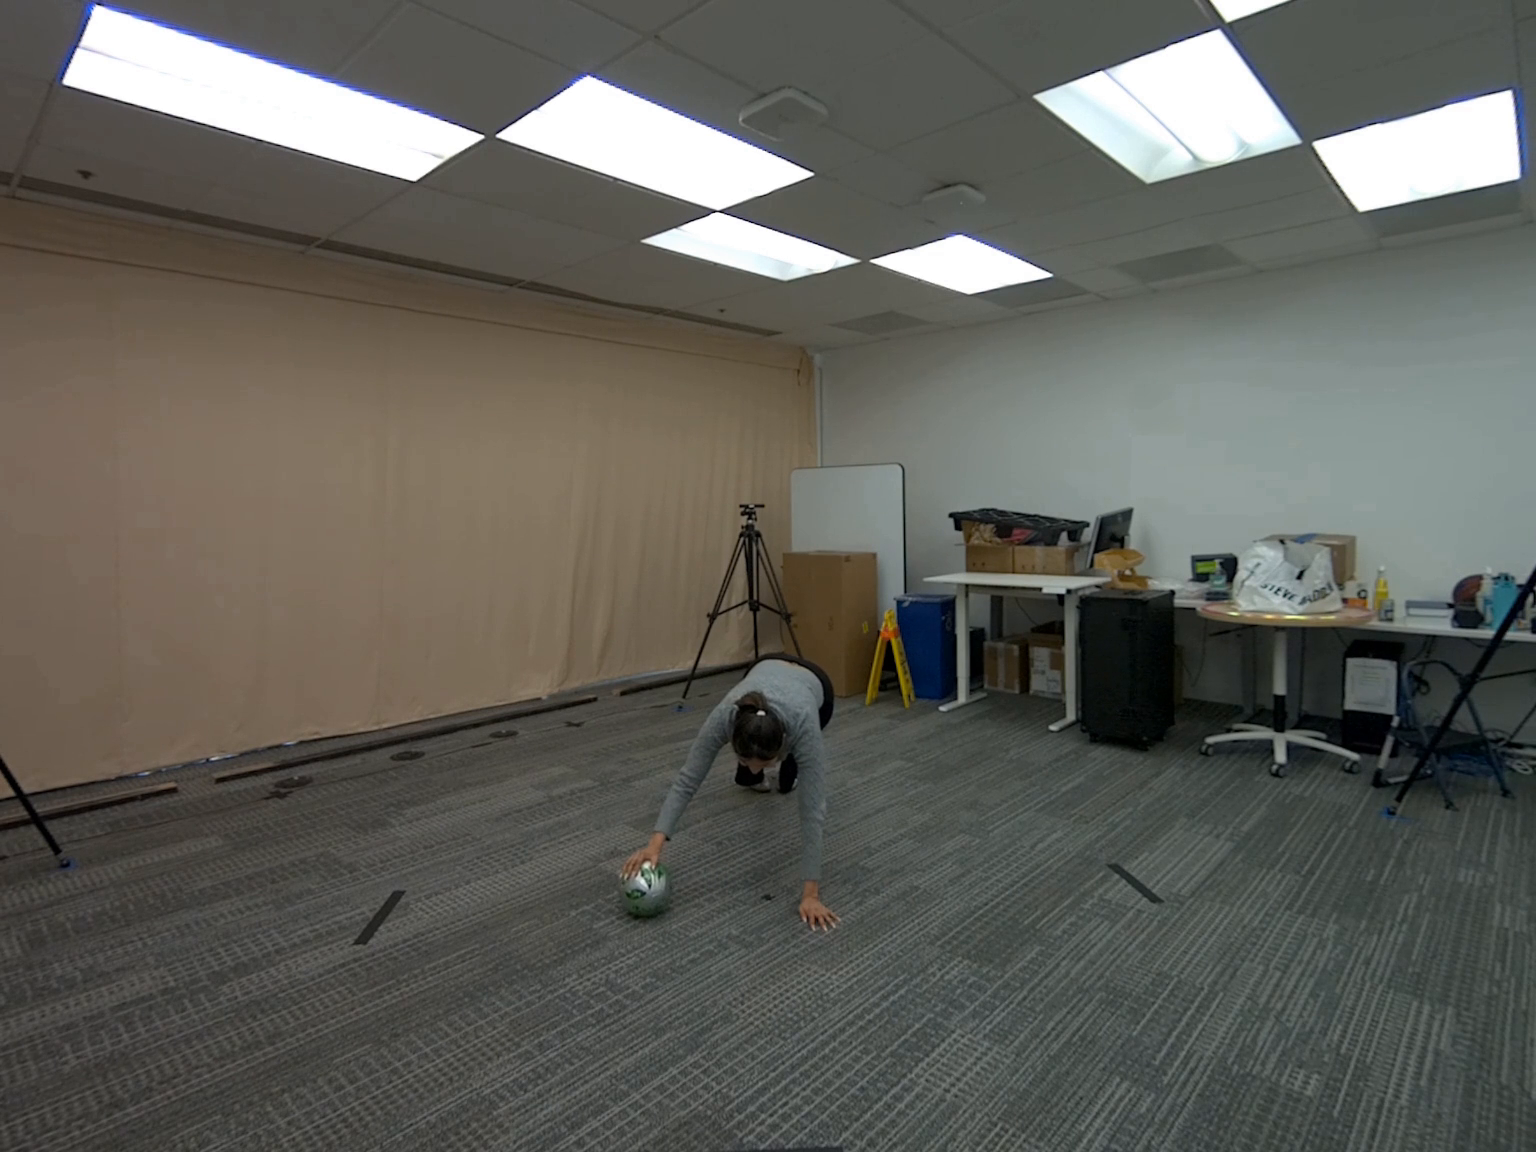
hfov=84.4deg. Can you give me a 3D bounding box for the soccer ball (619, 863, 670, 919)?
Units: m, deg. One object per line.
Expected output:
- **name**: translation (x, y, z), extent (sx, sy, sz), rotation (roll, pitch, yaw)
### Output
- **soccer ball**: translation (-0.410, 1.063, 2.888), extent (0.187, 0.187, 0.188), rotation (-1, 4, -2)
